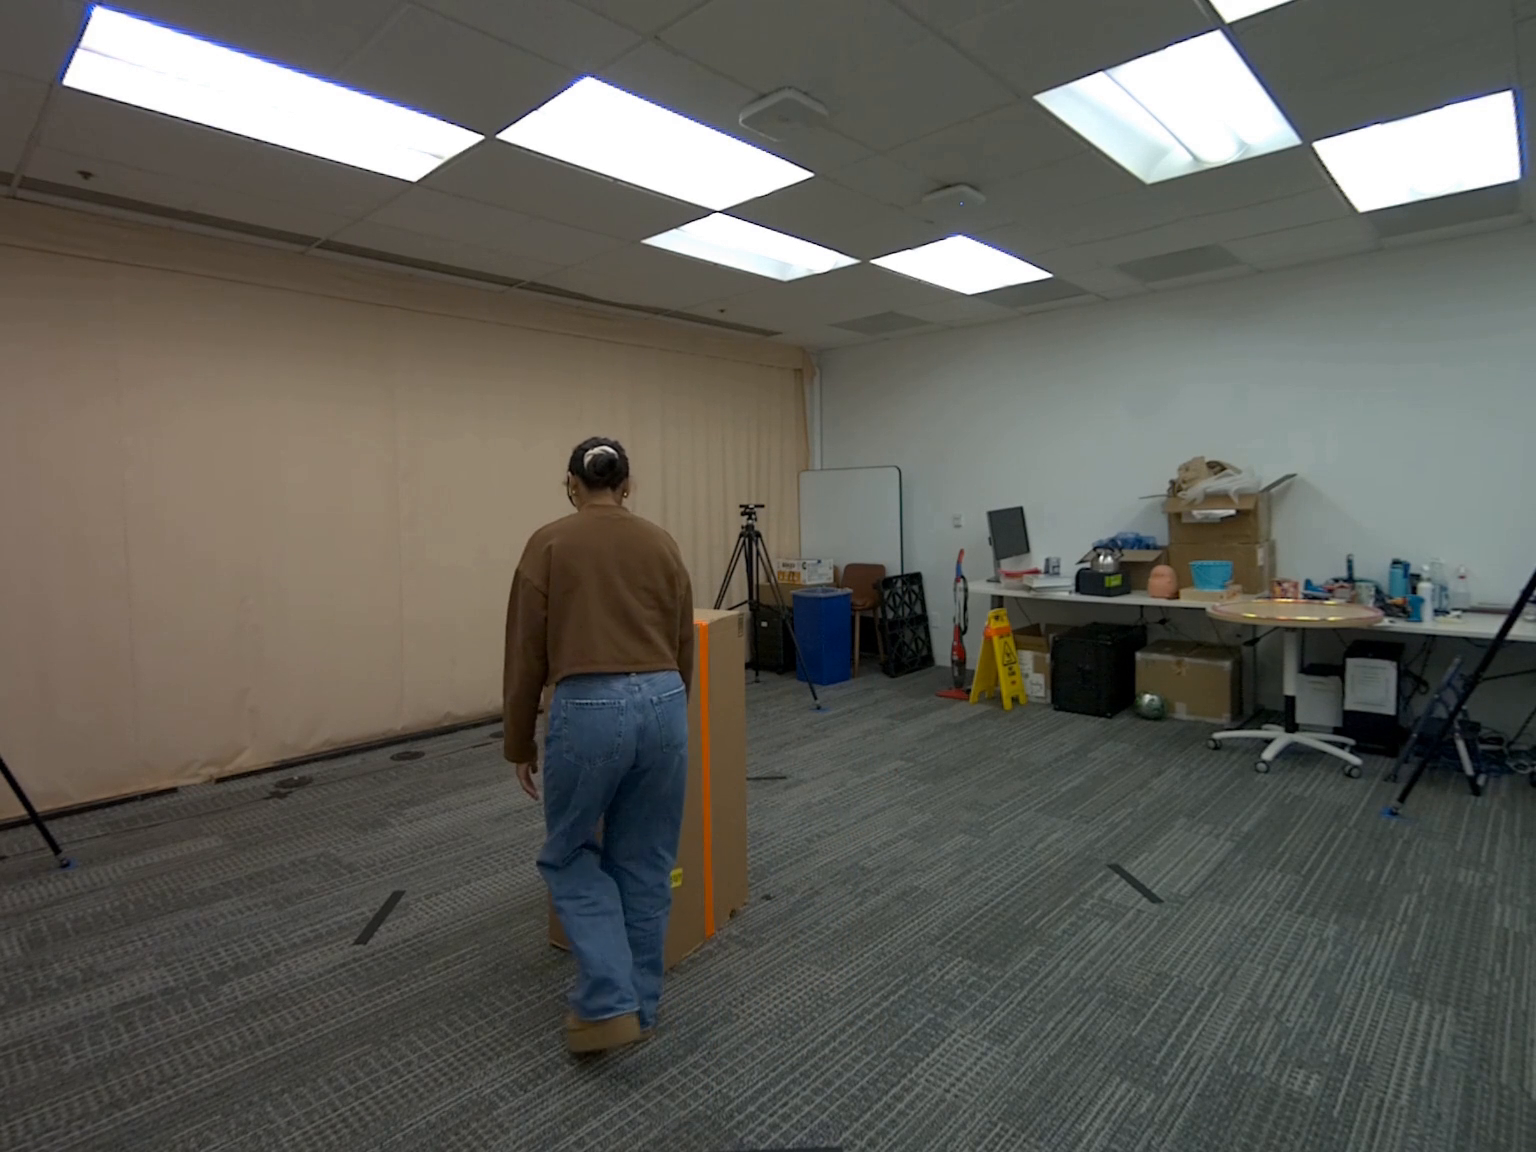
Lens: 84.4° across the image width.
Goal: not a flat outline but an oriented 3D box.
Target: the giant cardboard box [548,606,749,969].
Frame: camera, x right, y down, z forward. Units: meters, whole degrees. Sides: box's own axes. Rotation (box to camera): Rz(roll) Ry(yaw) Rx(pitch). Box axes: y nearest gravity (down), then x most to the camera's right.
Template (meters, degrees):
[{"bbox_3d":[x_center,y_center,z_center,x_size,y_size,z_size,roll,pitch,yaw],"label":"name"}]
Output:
[{"bbox_3d":[-0.388,0.656,2.805,0.438,1.024,0.562,1,3,29],"label":"giant cardboard box"}]
